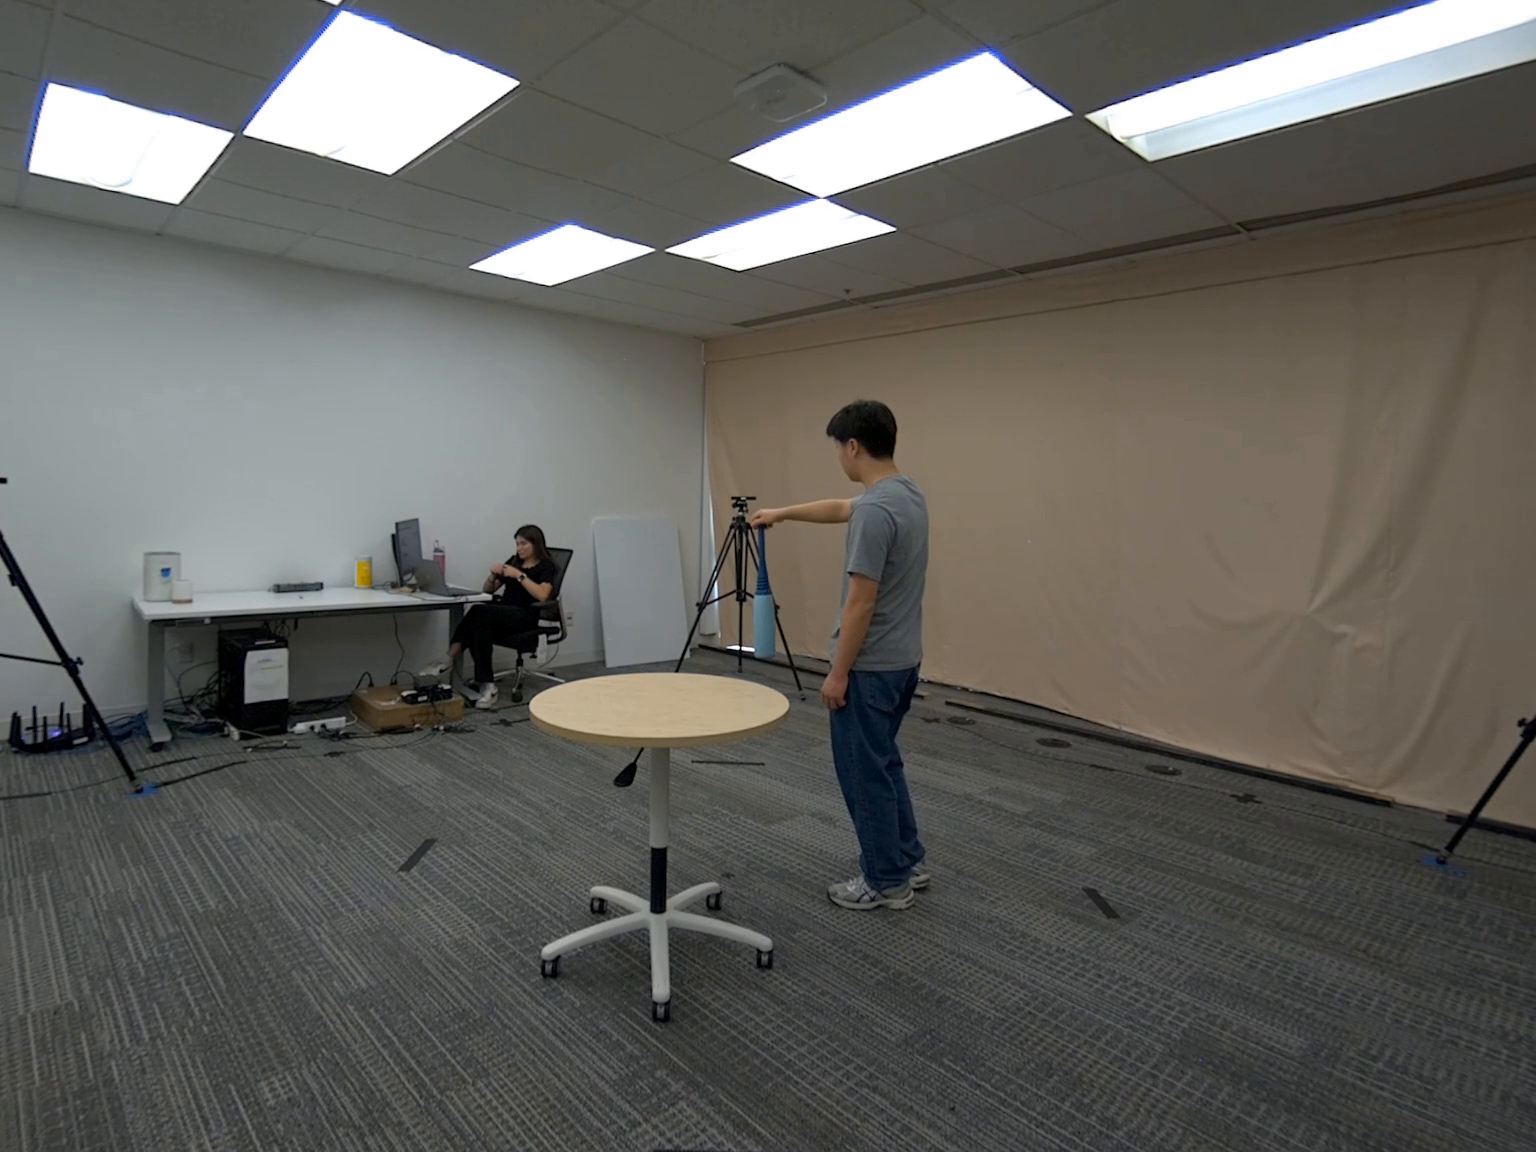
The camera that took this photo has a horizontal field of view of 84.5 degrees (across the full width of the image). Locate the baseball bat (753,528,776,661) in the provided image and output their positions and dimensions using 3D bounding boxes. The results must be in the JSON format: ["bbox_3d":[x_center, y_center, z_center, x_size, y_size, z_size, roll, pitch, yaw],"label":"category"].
[{"bbox_3d":[-0.028,0.051,3.307,0.089,0.543,0.089,-2,1,-1],"label":"baseball bat"}]
